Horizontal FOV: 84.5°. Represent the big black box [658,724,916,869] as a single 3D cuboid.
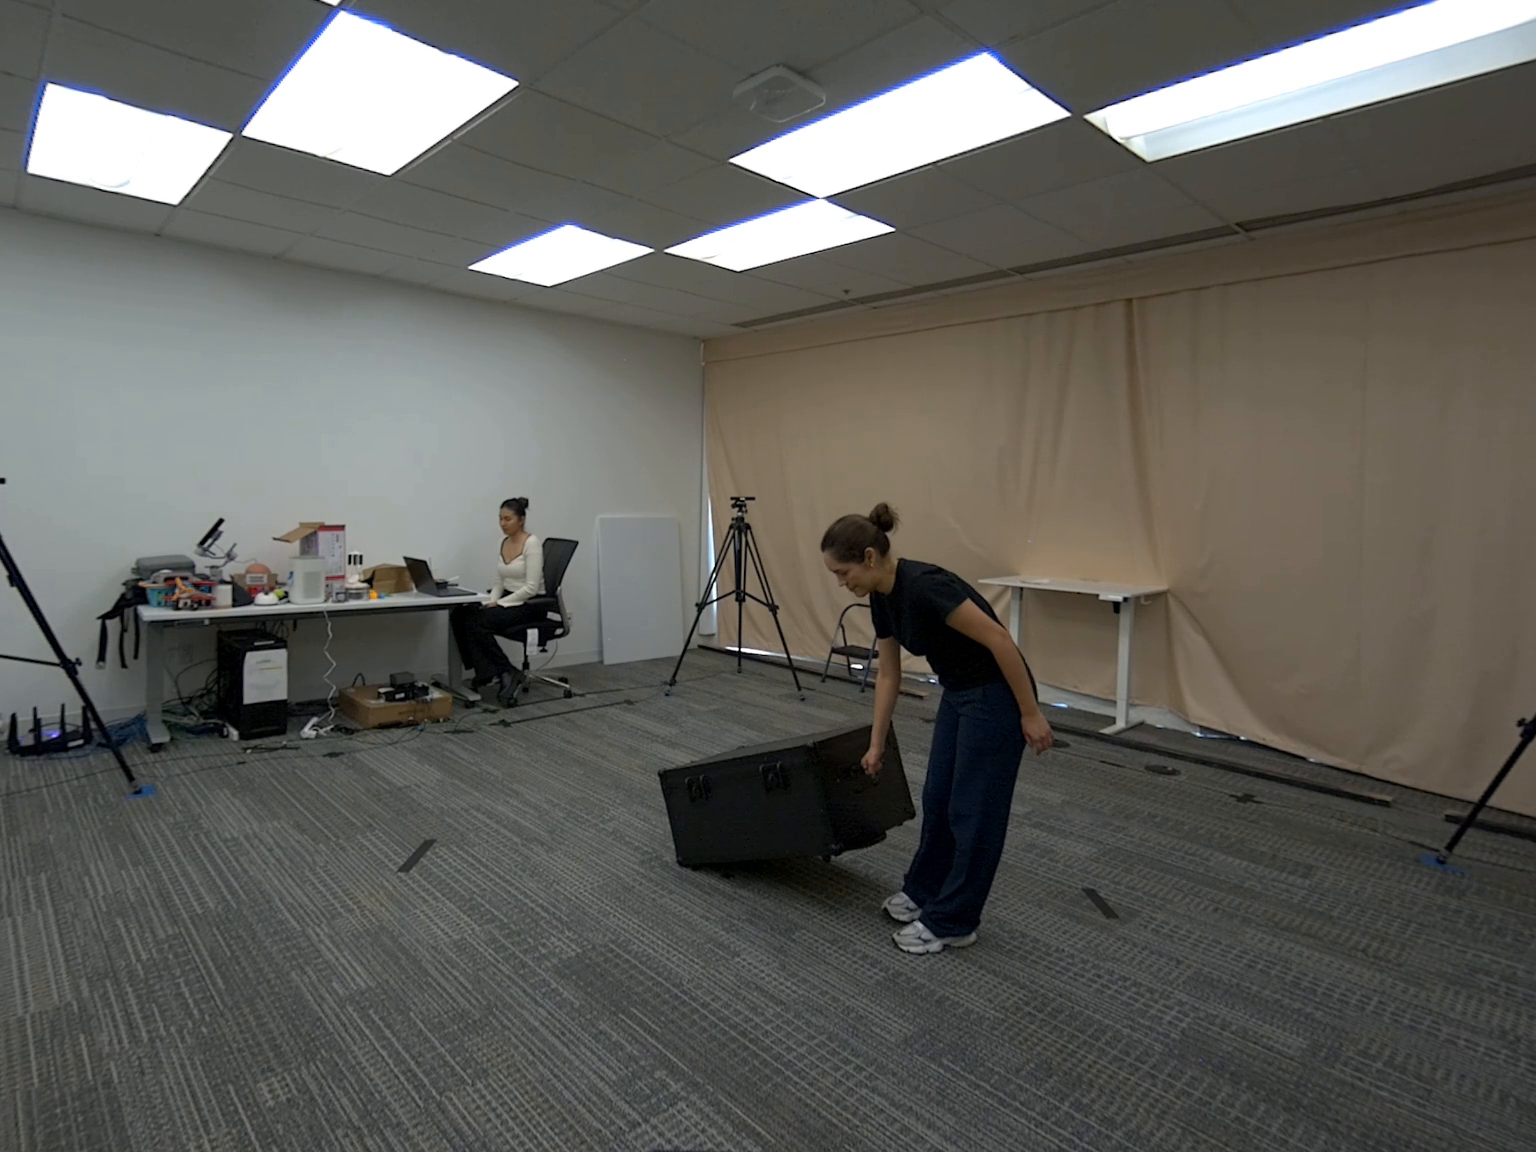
[{"bbox_3d":[0.035,0.827,3.143,0.873,0.400,0.509,-20,-11,40],"label":"big black box"}]
